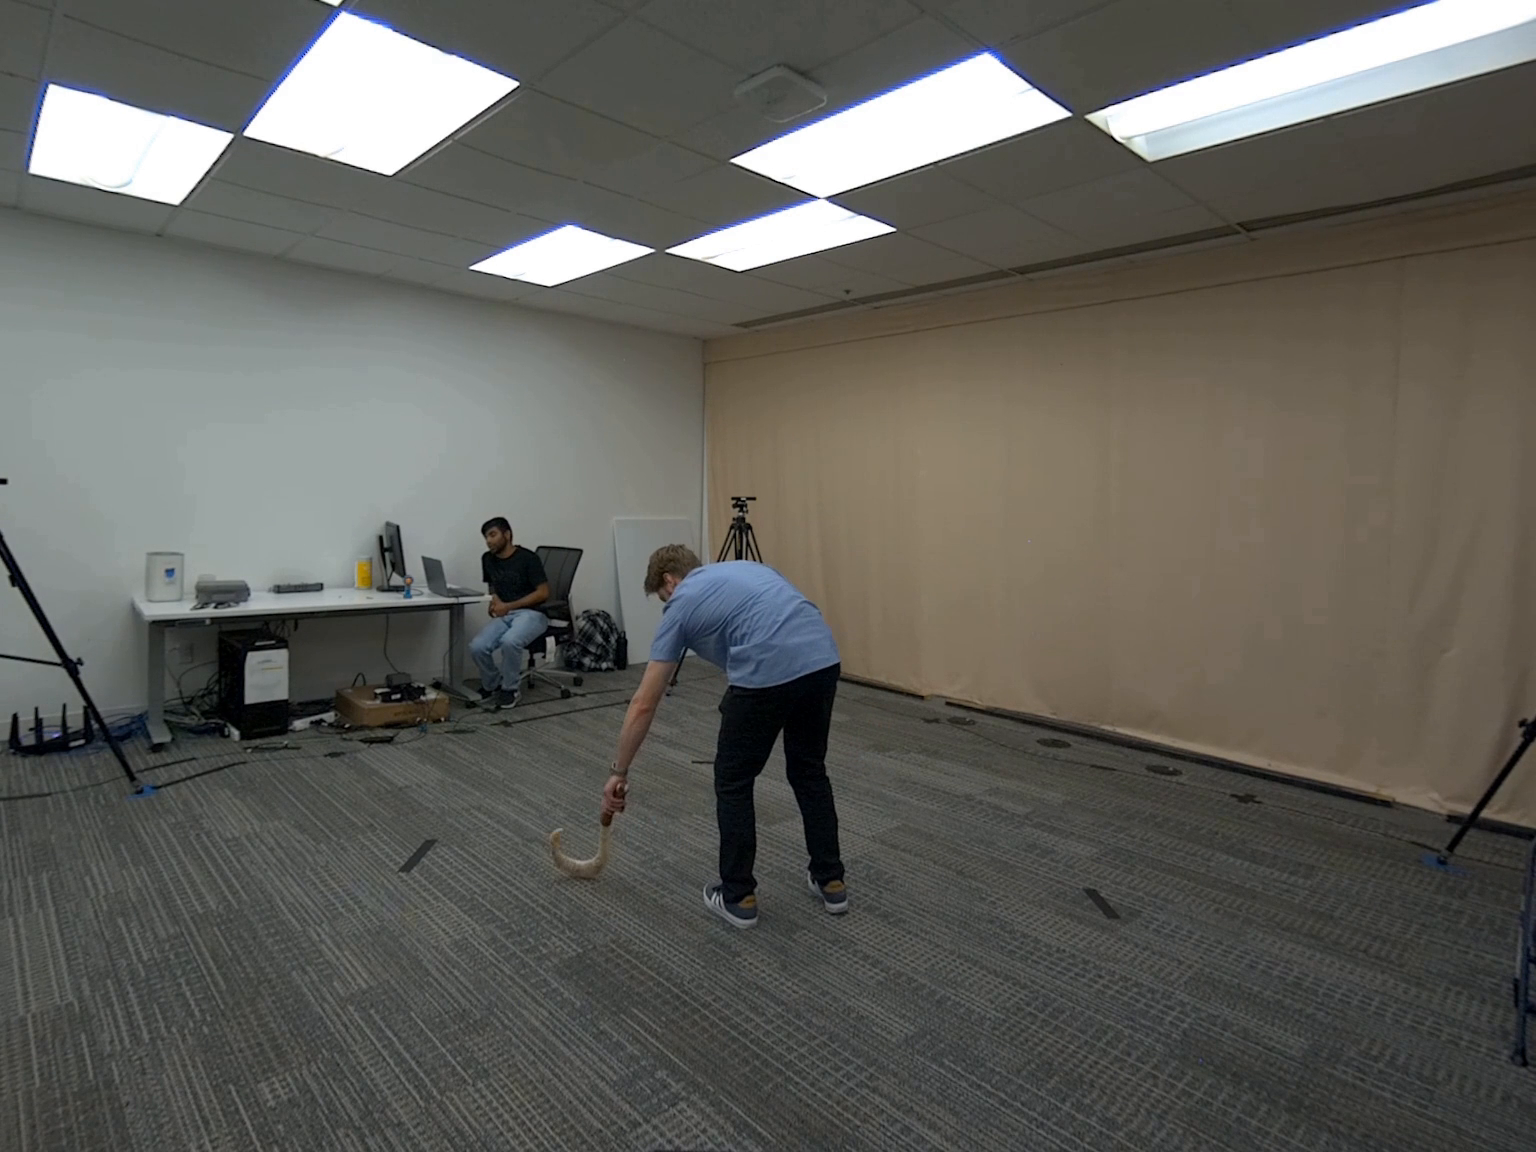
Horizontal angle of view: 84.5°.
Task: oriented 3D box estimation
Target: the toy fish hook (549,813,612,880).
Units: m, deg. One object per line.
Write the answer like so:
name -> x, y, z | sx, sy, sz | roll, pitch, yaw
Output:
toy fish hook -> -0.621, 0.882, 2.967 | 0.223, 0.503, 0.049 | 23, 28, -7
